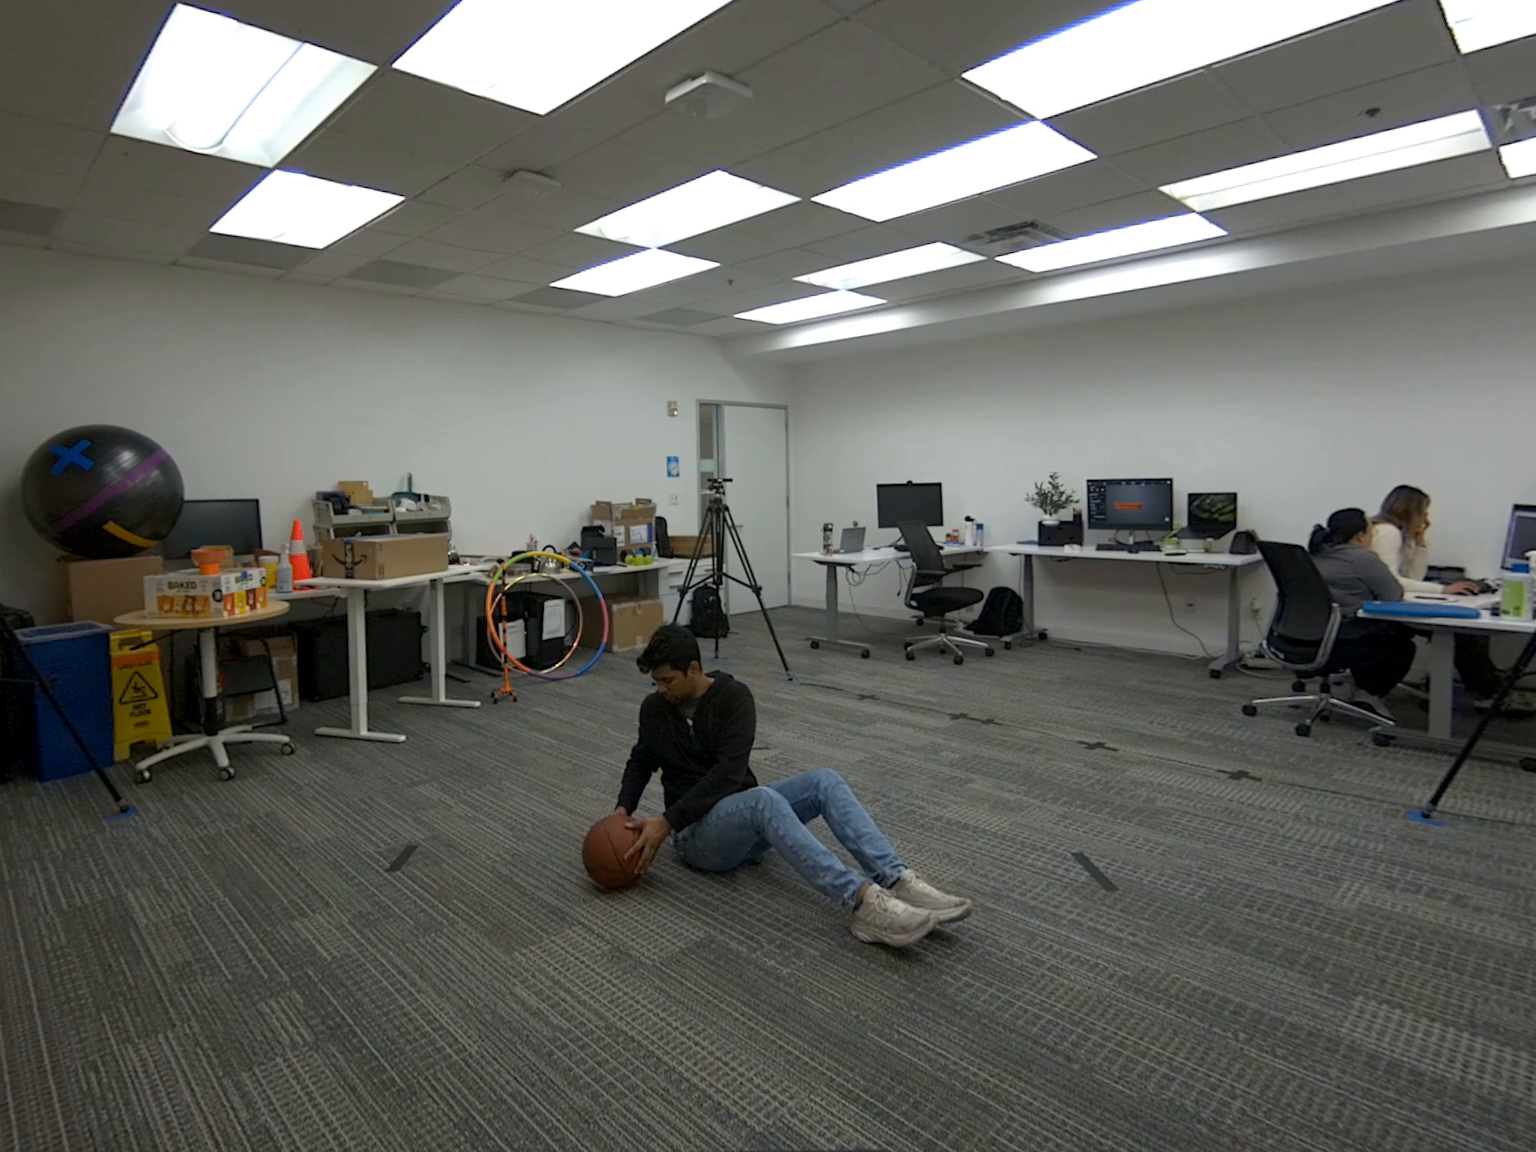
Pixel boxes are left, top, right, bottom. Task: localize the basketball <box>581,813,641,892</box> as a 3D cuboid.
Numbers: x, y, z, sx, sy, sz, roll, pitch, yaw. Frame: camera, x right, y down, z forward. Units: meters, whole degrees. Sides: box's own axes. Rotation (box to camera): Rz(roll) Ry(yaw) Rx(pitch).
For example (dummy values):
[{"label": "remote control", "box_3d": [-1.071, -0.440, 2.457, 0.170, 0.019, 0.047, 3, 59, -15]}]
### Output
[{"label": "basketball", "box_3d": [-0.521, 0.953, 2.944, 0.236, 0.235, 0.237, -1, 5, -2]}]
